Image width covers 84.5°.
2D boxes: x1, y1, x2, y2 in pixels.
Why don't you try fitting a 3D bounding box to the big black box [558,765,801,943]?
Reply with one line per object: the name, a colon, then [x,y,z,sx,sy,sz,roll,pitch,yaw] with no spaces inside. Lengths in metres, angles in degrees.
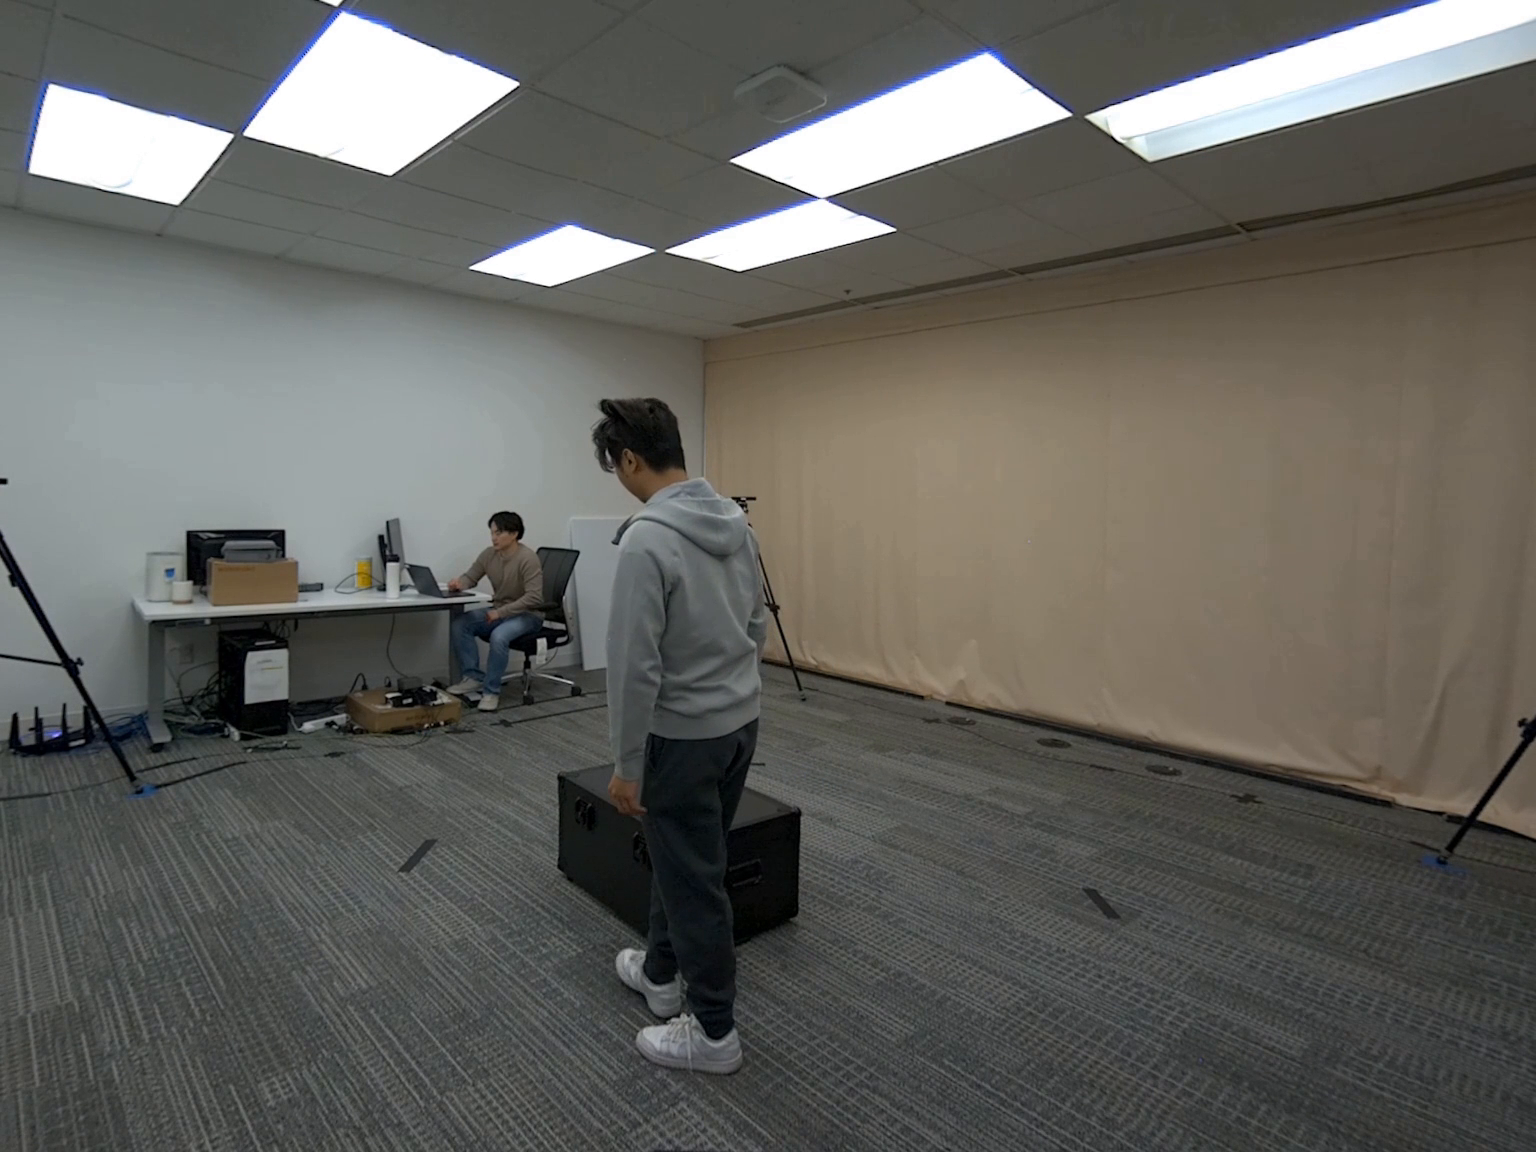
big black box: [-0.353,0.927,2.938,0.509,0.395,0.884,-2,6,-40]
